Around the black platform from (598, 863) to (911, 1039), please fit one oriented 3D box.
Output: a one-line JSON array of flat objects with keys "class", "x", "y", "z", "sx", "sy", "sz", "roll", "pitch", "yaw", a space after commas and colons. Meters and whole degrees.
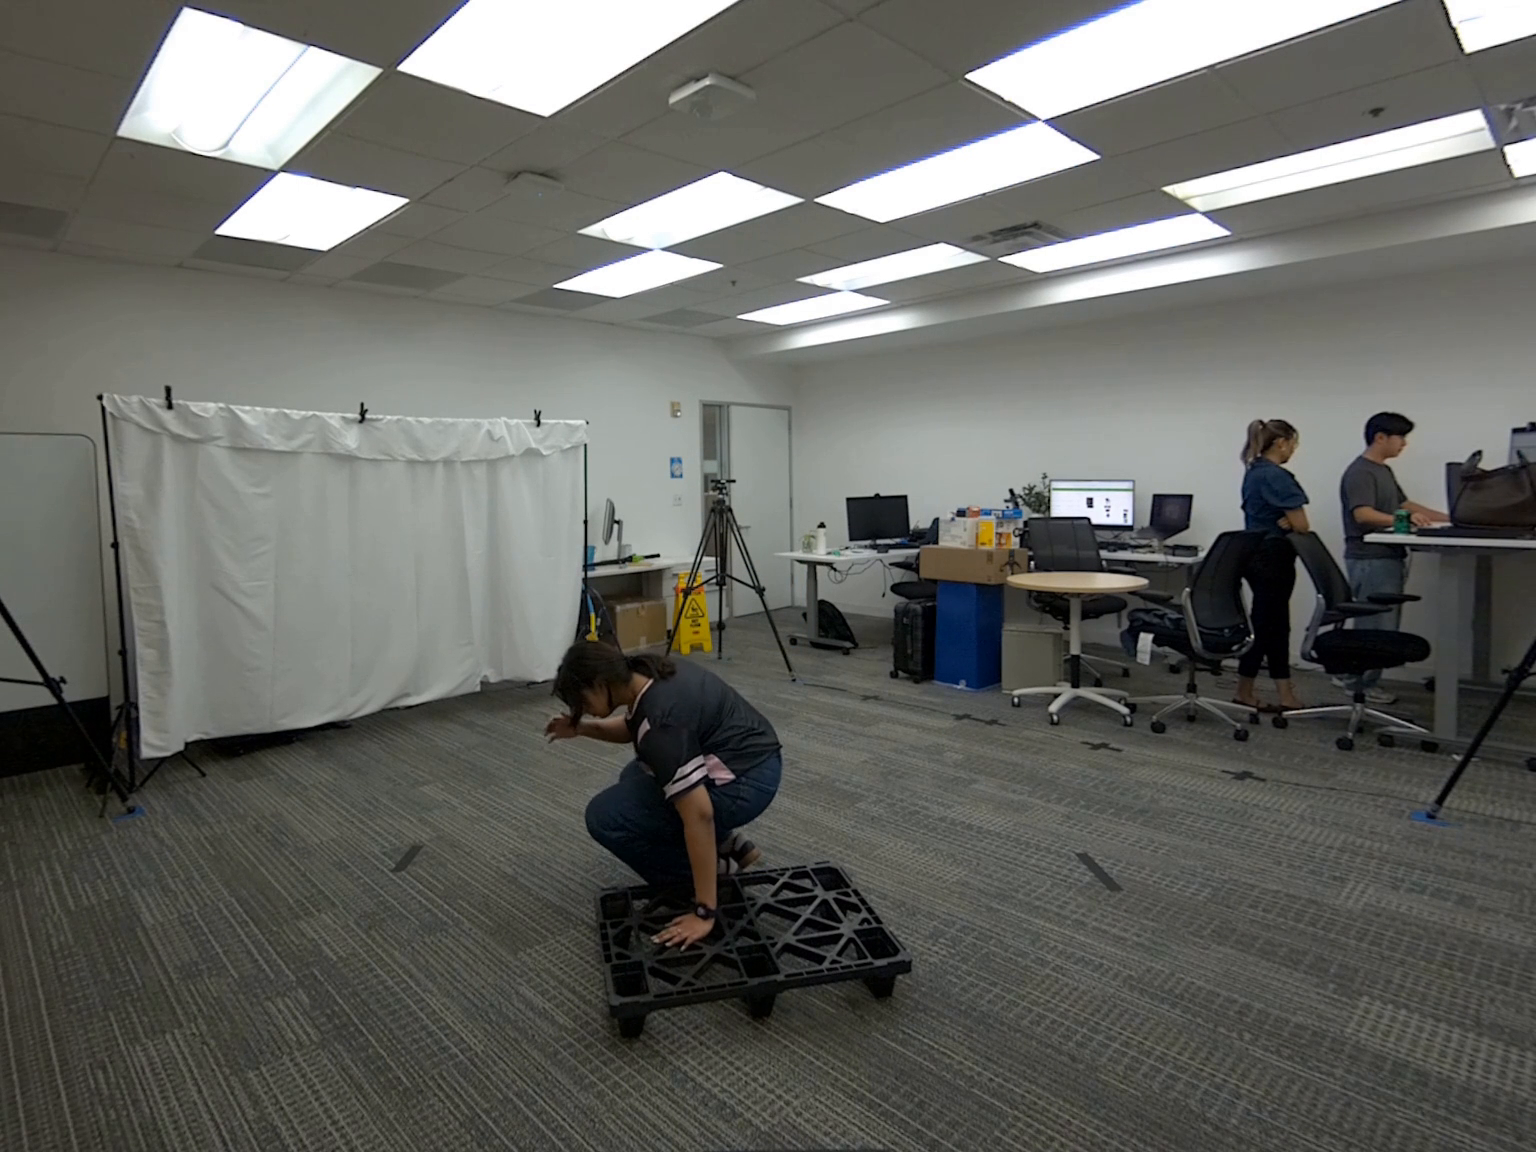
[{"class": "black platform", "x": -0.078, "y": 1.058, "z": 2.448, "sx": 0.796, "sy": 0.143, "sz": 0.615, "roll": -2, "pitch": 6, "yaw": -13}]
